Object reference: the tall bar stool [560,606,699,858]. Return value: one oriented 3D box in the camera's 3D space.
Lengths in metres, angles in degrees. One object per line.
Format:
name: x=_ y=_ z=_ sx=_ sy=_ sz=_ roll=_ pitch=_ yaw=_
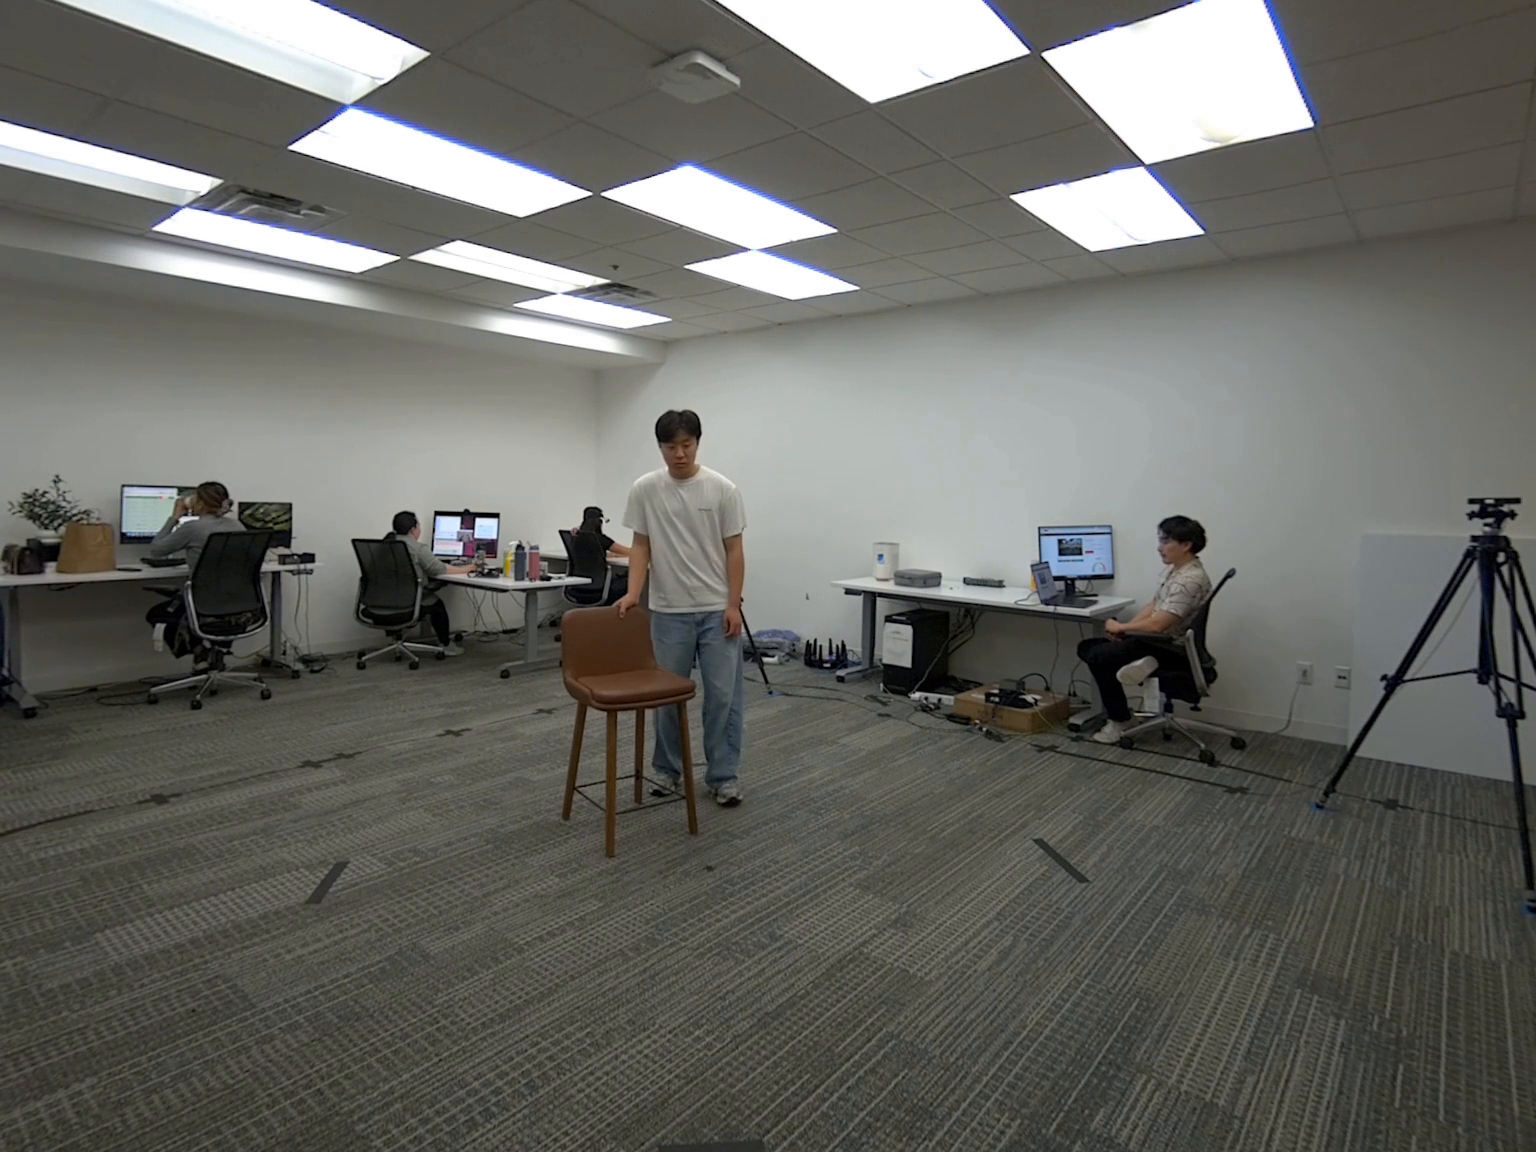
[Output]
tall bar stool: x=-0.591 y=0.589 z=3.467 sx=0.443 sy=0.889 sz=0.482 roll=-2 pitch=2 yaw=-38
